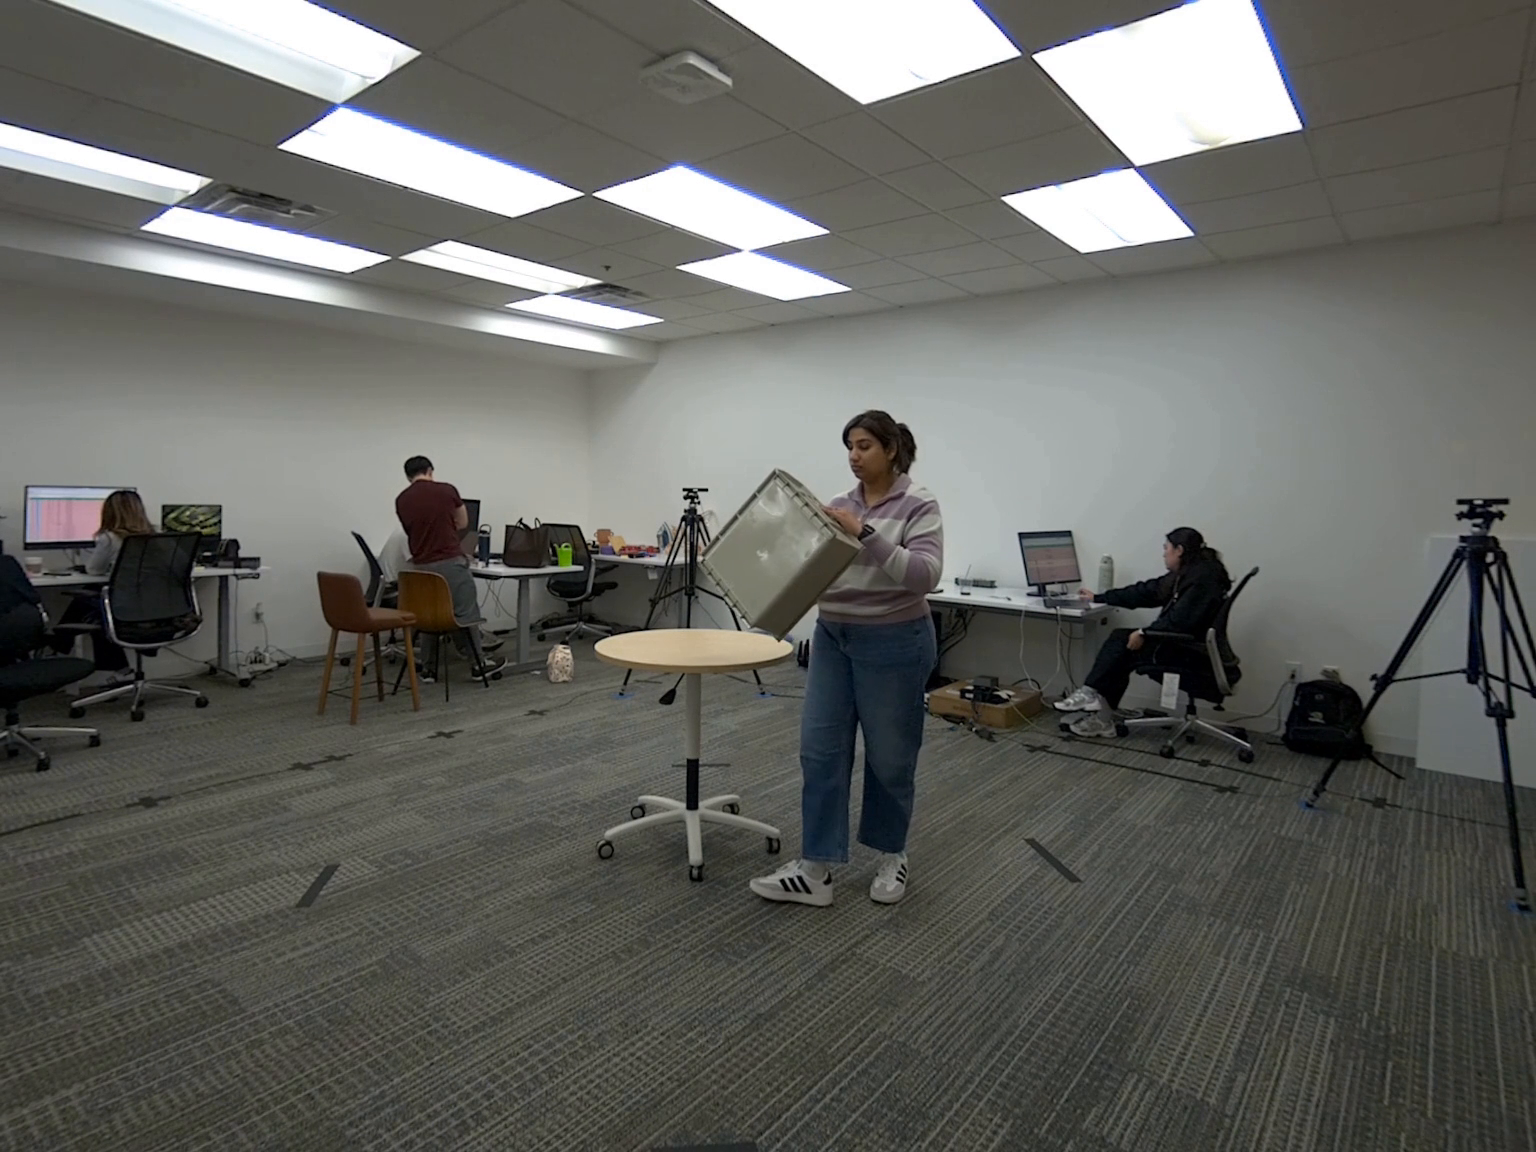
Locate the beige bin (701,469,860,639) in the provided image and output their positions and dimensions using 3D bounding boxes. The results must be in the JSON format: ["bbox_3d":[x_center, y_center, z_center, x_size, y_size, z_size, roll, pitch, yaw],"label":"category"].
[{"bbox_3d":[0.009,-0.082,2.774,0.181,0.422,0.393,25,21,-53],"label":"beige bin"}]
